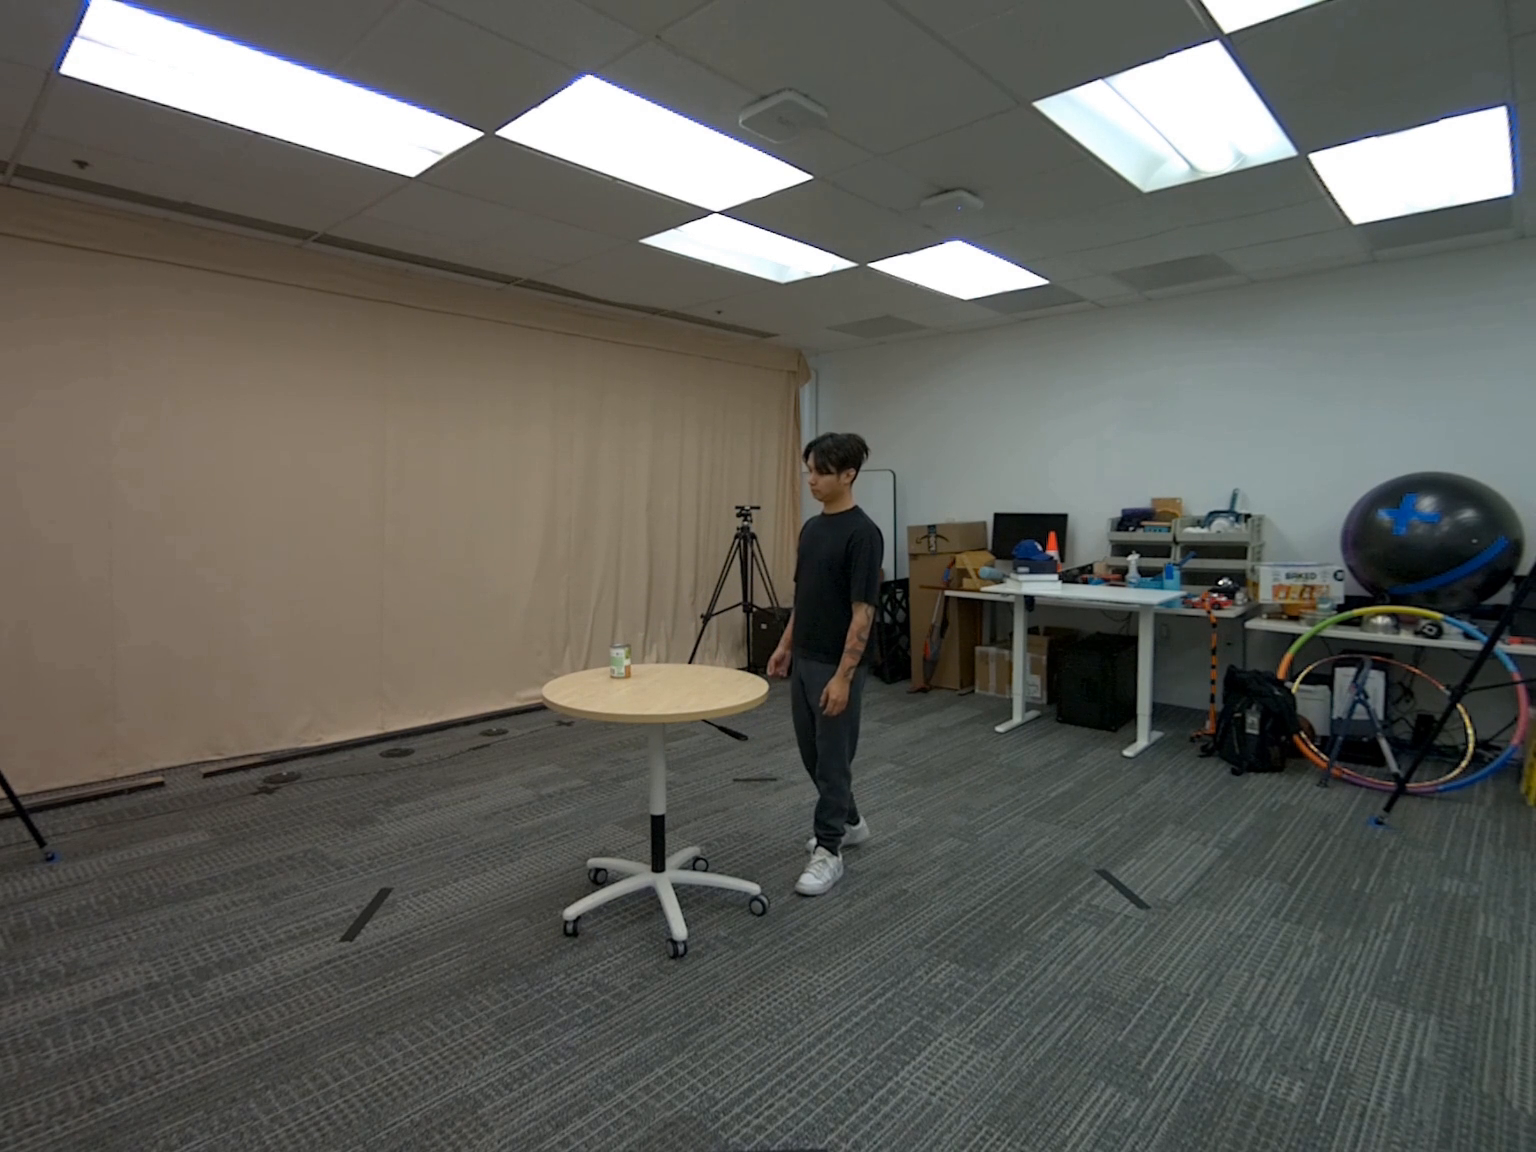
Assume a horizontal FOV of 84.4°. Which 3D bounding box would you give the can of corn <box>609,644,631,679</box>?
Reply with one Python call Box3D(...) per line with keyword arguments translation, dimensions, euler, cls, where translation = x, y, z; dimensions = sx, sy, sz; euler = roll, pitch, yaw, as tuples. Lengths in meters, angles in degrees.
Box3D(translation=(-0.527, 0.307, 3.006), dimensions=(0.074, 0.111, 0.074), euler=(-2, 1, -2), cls="can of corn")
